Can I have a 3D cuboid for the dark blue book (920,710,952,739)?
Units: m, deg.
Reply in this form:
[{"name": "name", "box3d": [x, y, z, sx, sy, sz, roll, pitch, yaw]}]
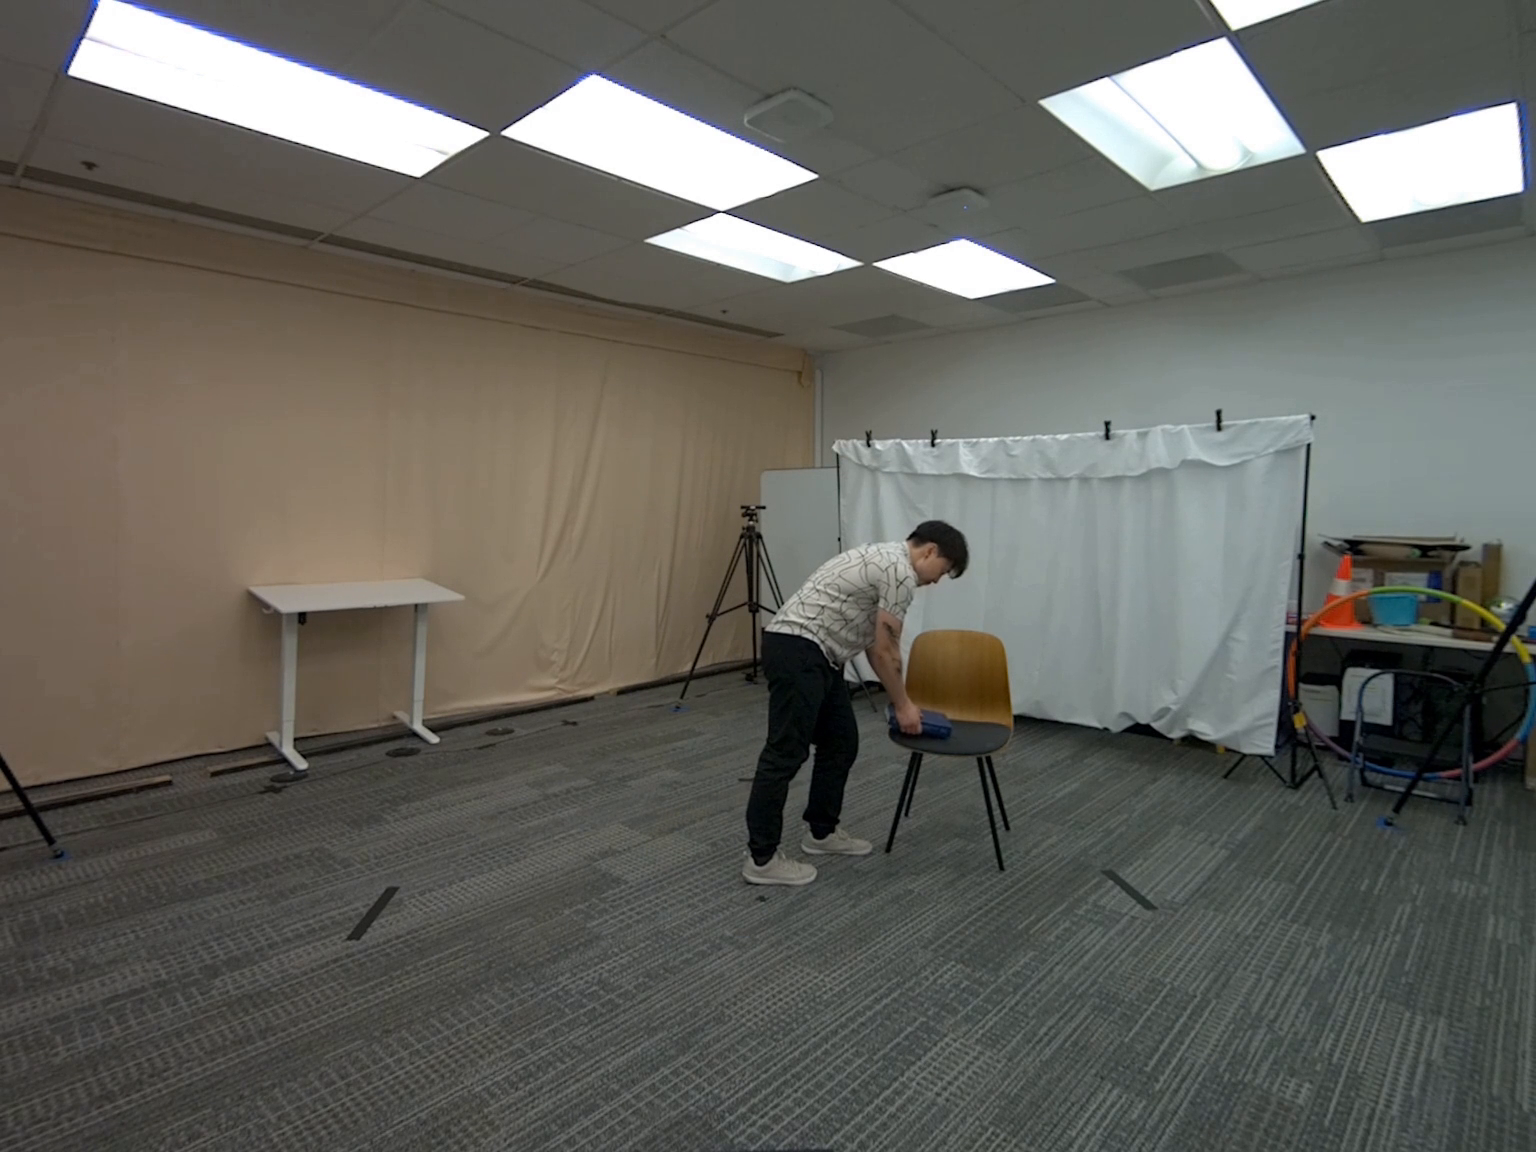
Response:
[{"name": "dark blue book", "box3d": [0.602, 0.577, 3.322, 0.246, 0.045, 0.163, 10, 9, 3]}]
